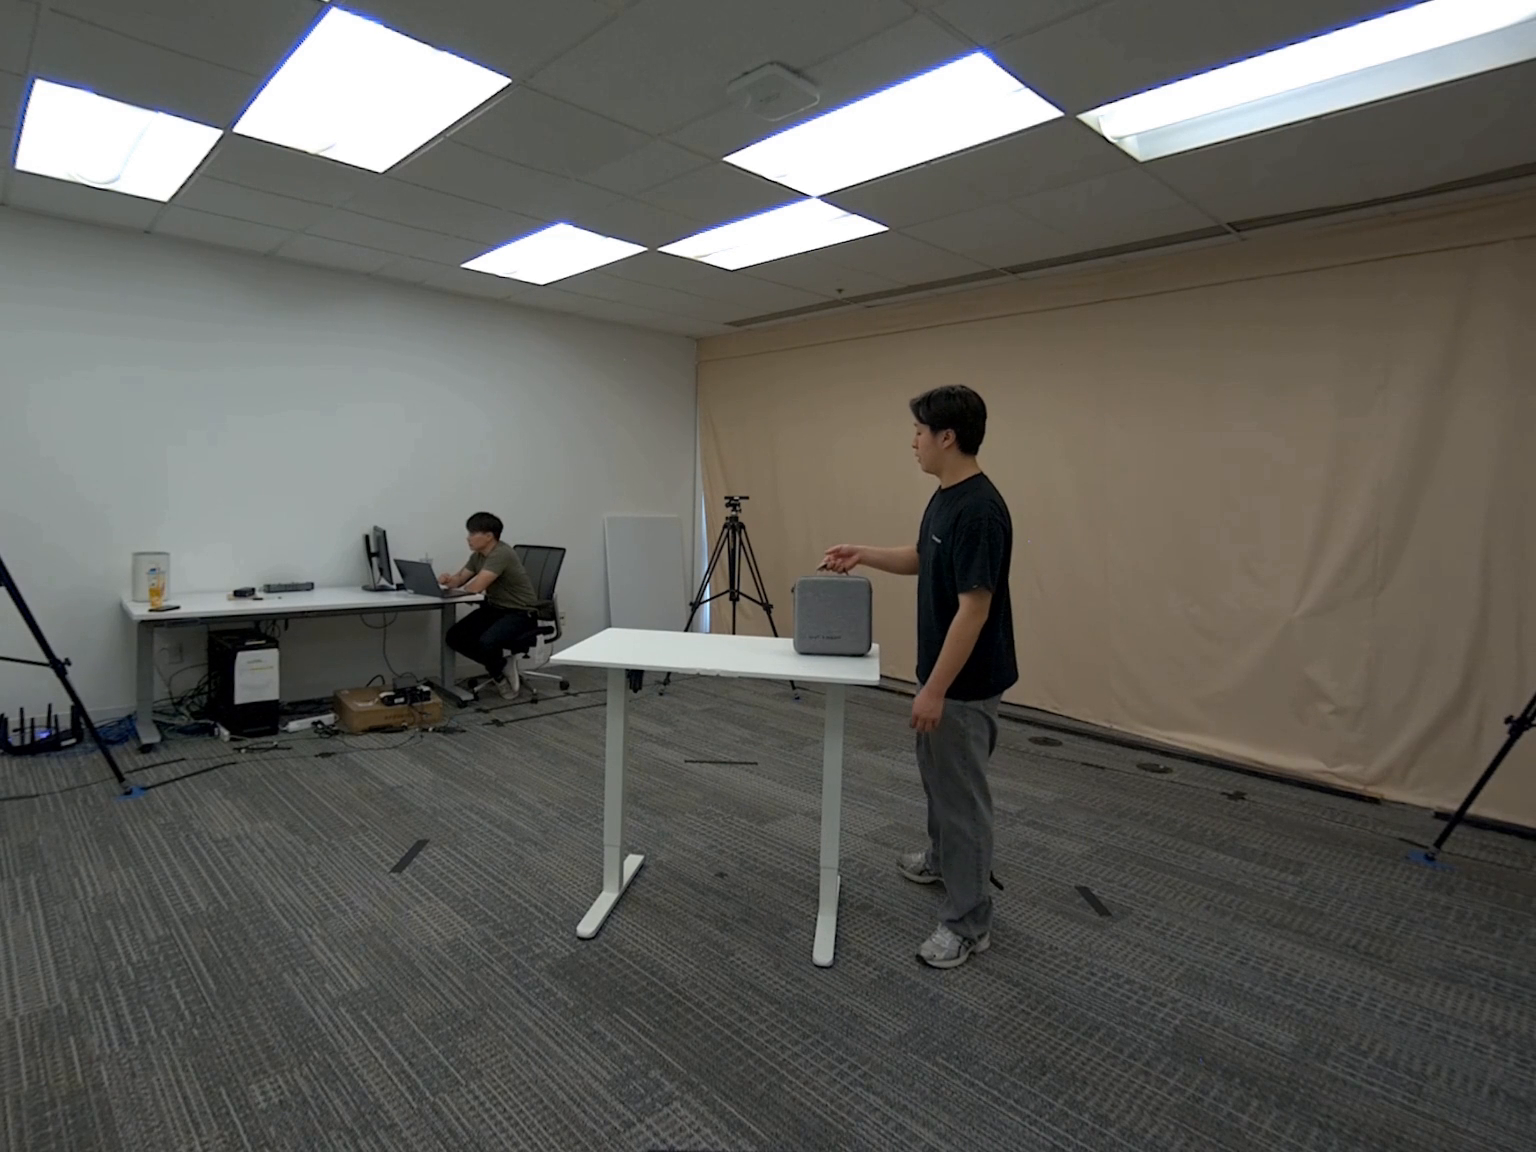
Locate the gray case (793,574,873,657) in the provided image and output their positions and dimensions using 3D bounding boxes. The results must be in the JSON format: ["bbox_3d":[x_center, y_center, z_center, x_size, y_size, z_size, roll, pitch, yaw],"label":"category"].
[{"bbox_3d":[0.201,0.118,2.798,0.264,0.288,0.102,1,-4,2],"label":"gray case"}]
